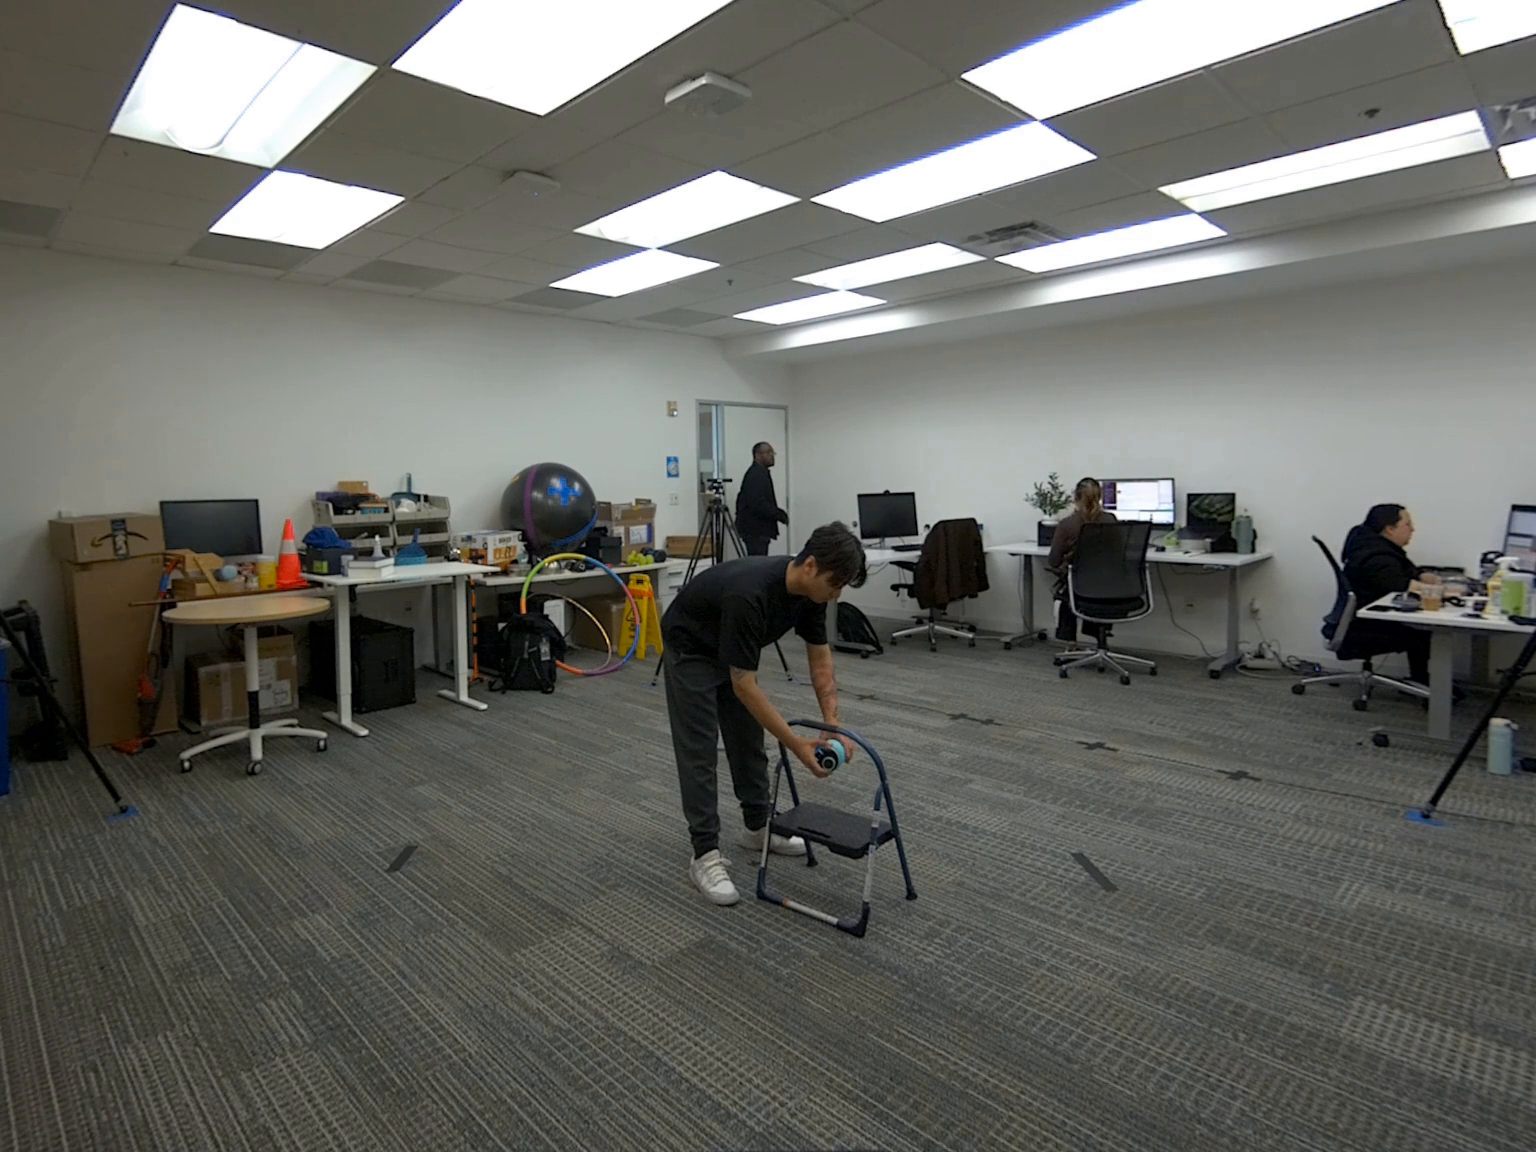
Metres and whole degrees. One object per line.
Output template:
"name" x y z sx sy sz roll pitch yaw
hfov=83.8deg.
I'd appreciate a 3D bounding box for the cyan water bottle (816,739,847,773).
"cyan water bottle" 0.206 0.596 2.827 0.094 0.093 0.278 1 -3 16
